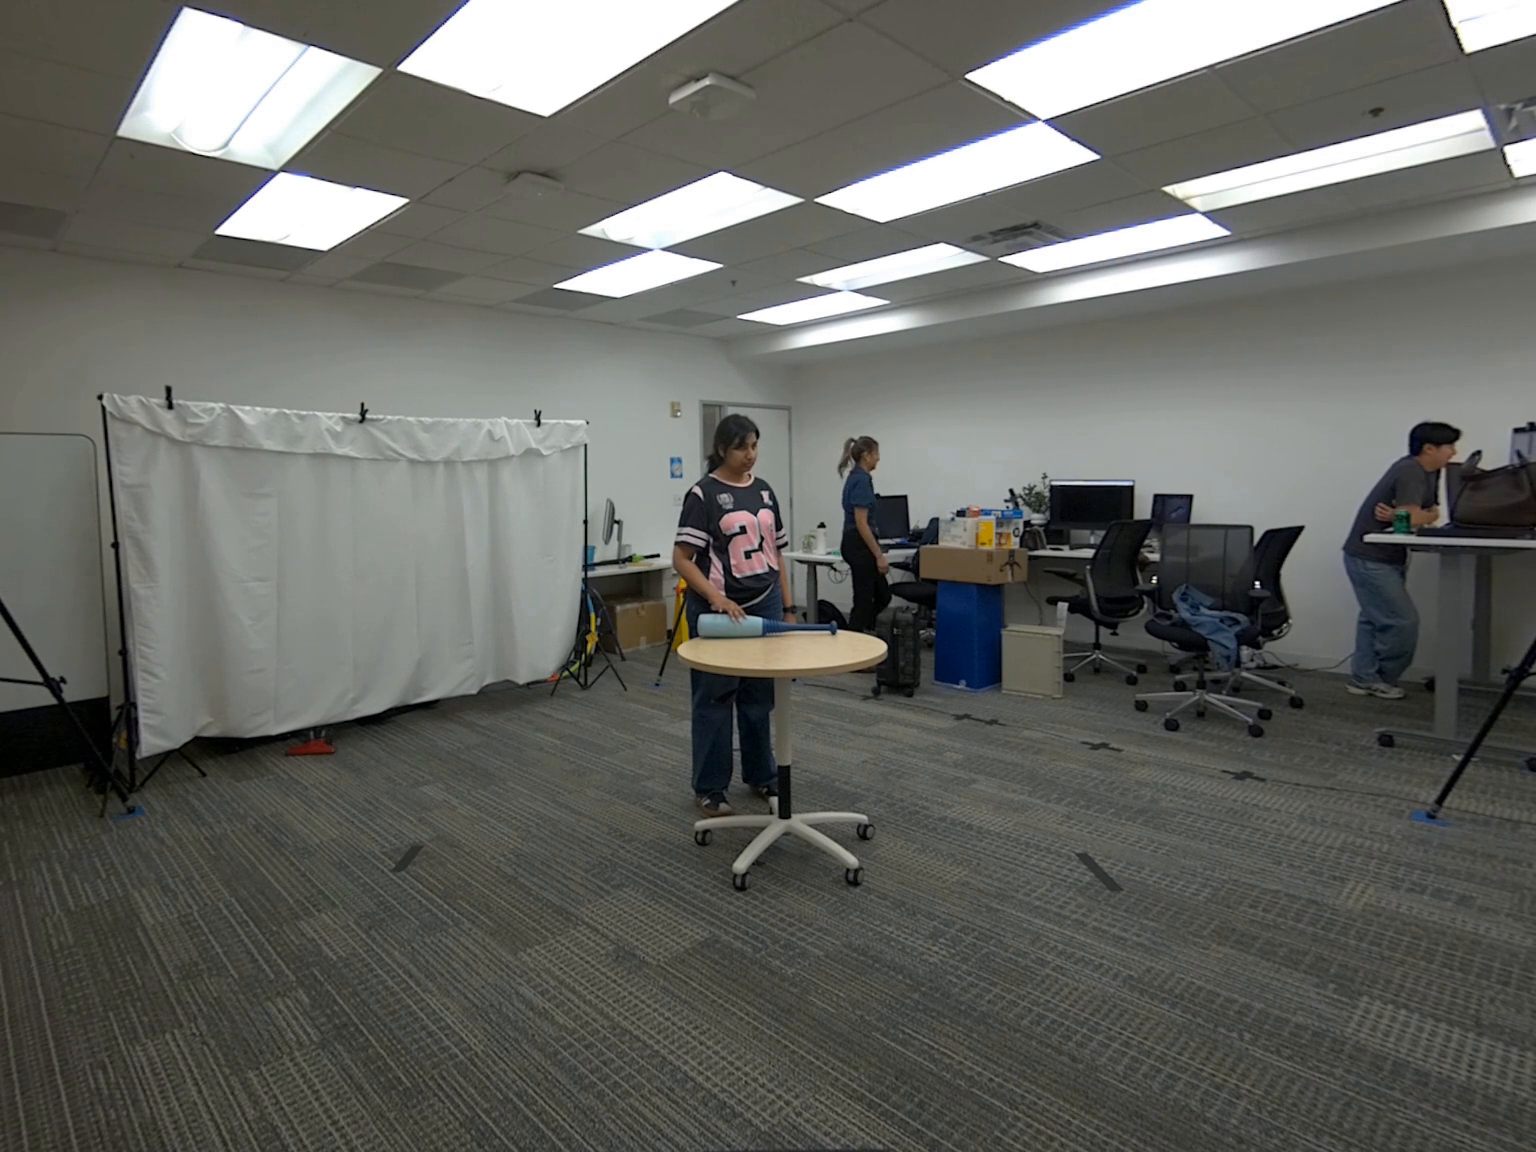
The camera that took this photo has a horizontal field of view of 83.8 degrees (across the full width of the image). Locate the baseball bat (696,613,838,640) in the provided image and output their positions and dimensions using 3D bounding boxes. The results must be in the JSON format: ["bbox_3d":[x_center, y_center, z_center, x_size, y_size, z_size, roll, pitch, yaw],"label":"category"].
[{"bbox_3d":[-0.002,0.199,3.336,0.542,0.089,0.089,0,5,-2],"label":"baseball bat"}]
